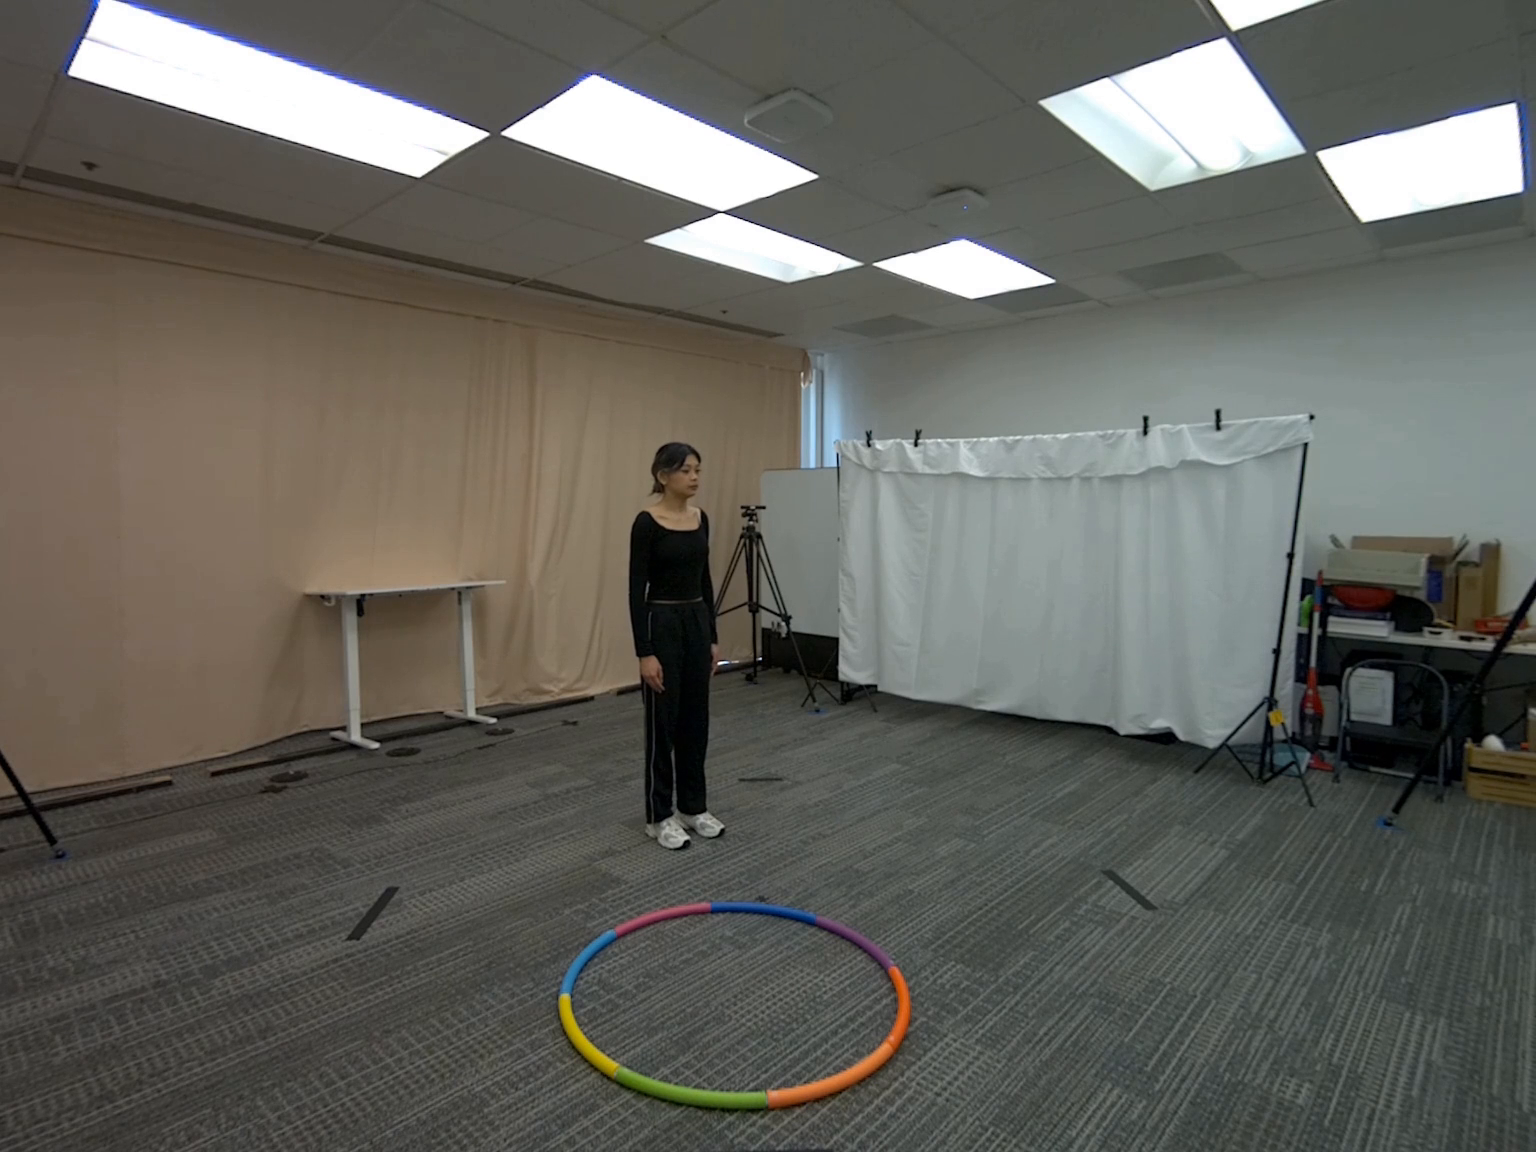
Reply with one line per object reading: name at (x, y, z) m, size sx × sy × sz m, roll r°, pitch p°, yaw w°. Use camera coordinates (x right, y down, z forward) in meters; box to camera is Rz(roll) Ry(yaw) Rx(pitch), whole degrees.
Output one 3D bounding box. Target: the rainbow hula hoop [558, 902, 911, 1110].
rainbow hula hoop at (-0.092, 1.164, 2.420) m, size 0.978 × 0.035 × 0.982 m, roll 0°, pitch 4°, yaw -2°
